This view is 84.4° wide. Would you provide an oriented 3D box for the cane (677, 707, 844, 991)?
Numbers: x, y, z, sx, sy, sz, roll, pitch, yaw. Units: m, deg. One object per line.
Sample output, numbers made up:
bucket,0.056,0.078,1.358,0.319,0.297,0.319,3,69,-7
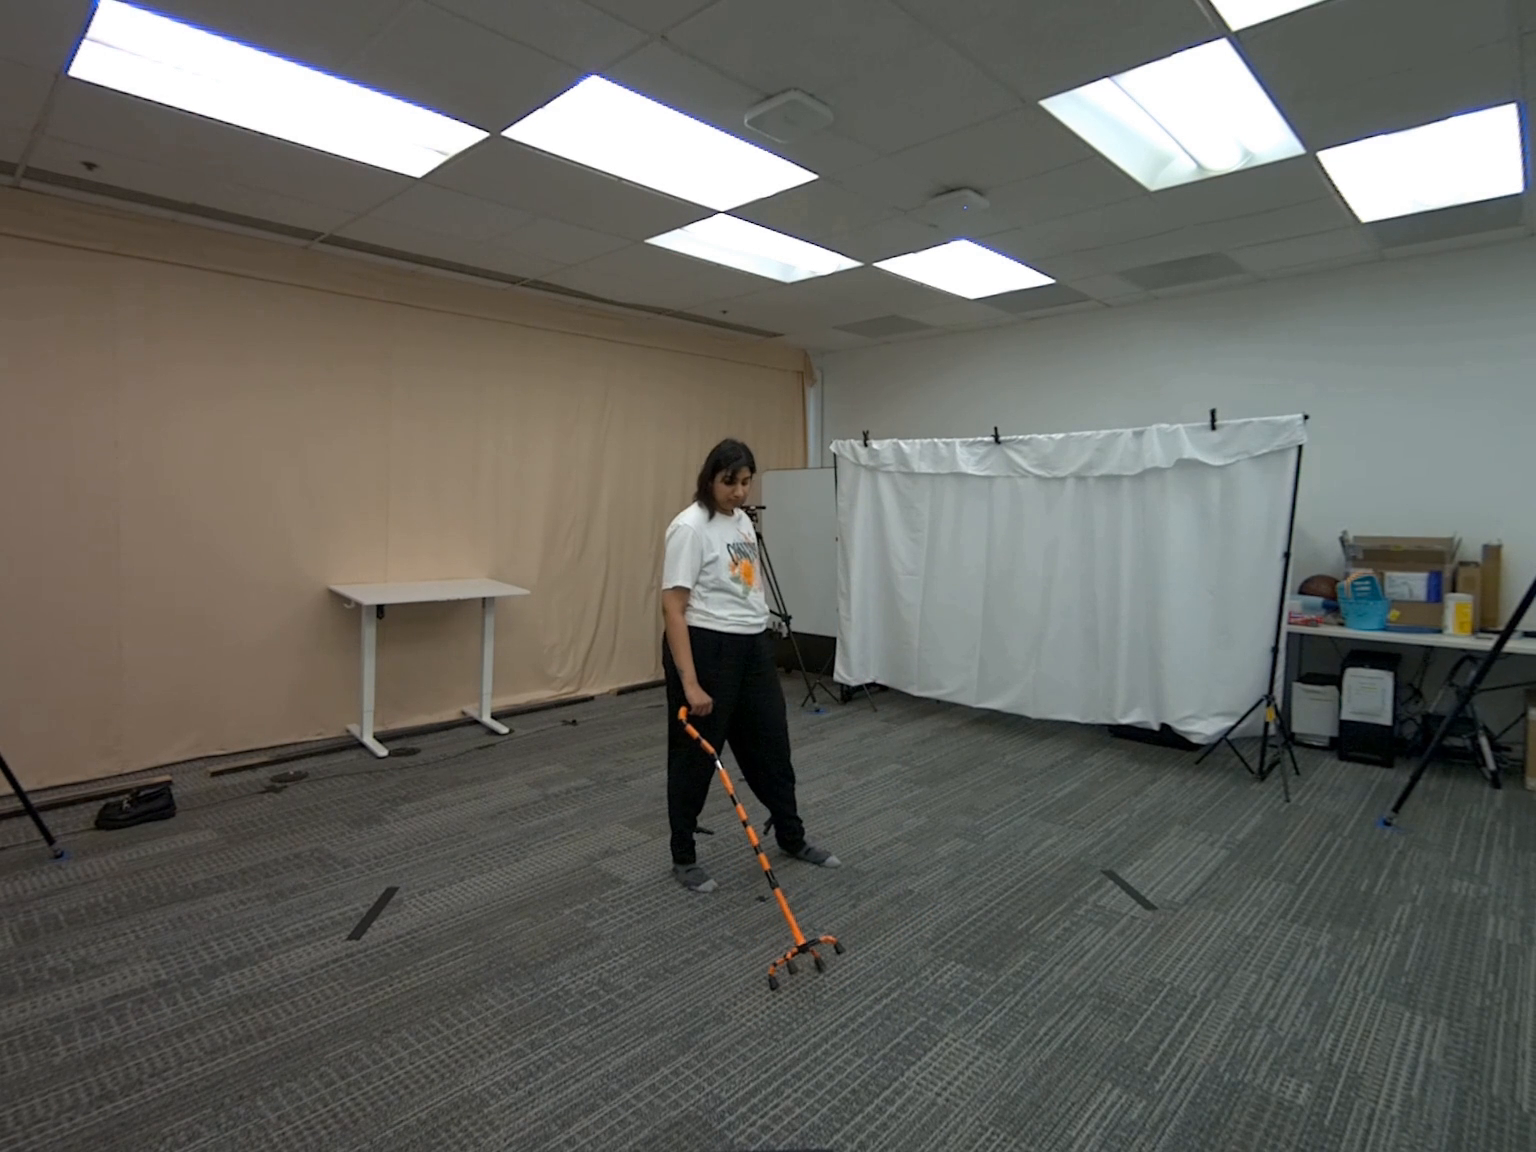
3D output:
cane,-0.067,0.789,2.673,0.200,0.934,0.152,-2,-41,-36
